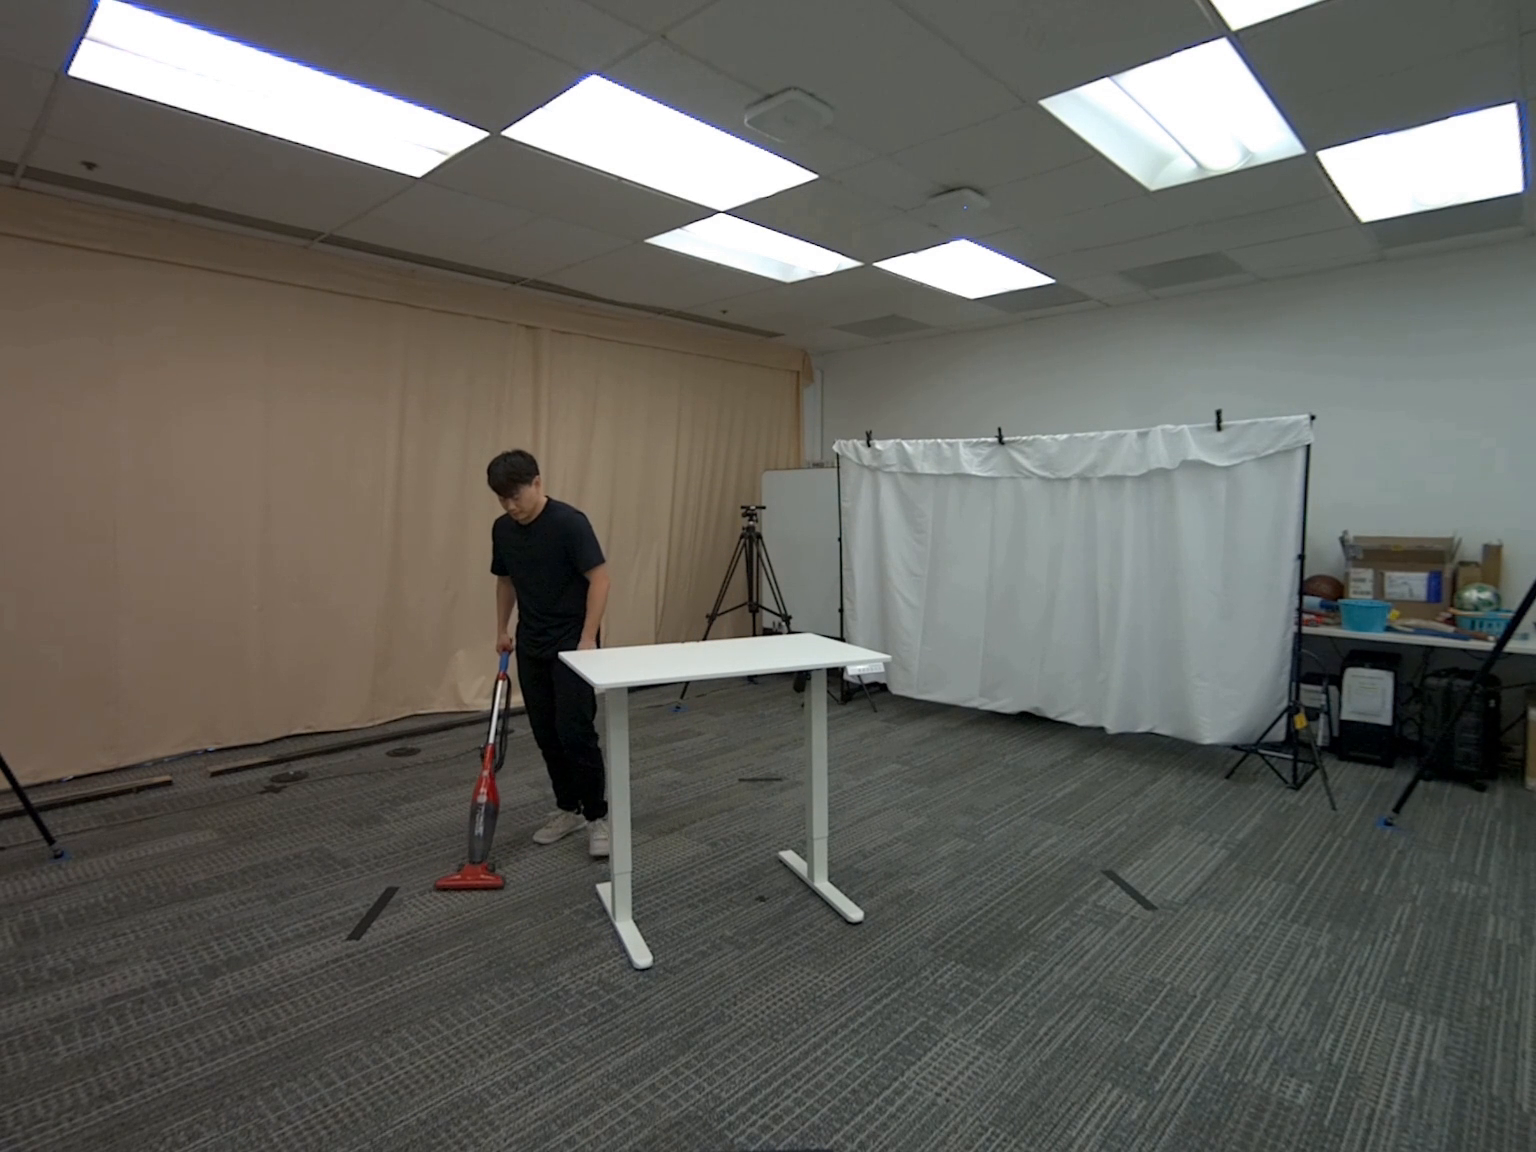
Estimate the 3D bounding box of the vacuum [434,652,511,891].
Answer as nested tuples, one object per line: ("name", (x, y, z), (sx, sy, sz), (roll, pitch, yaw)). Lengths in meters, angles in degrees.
("vacuum", (-1.125, 0.712, 3.452), (0.252, 1.070, 0.141), (-1, -39, -3))
